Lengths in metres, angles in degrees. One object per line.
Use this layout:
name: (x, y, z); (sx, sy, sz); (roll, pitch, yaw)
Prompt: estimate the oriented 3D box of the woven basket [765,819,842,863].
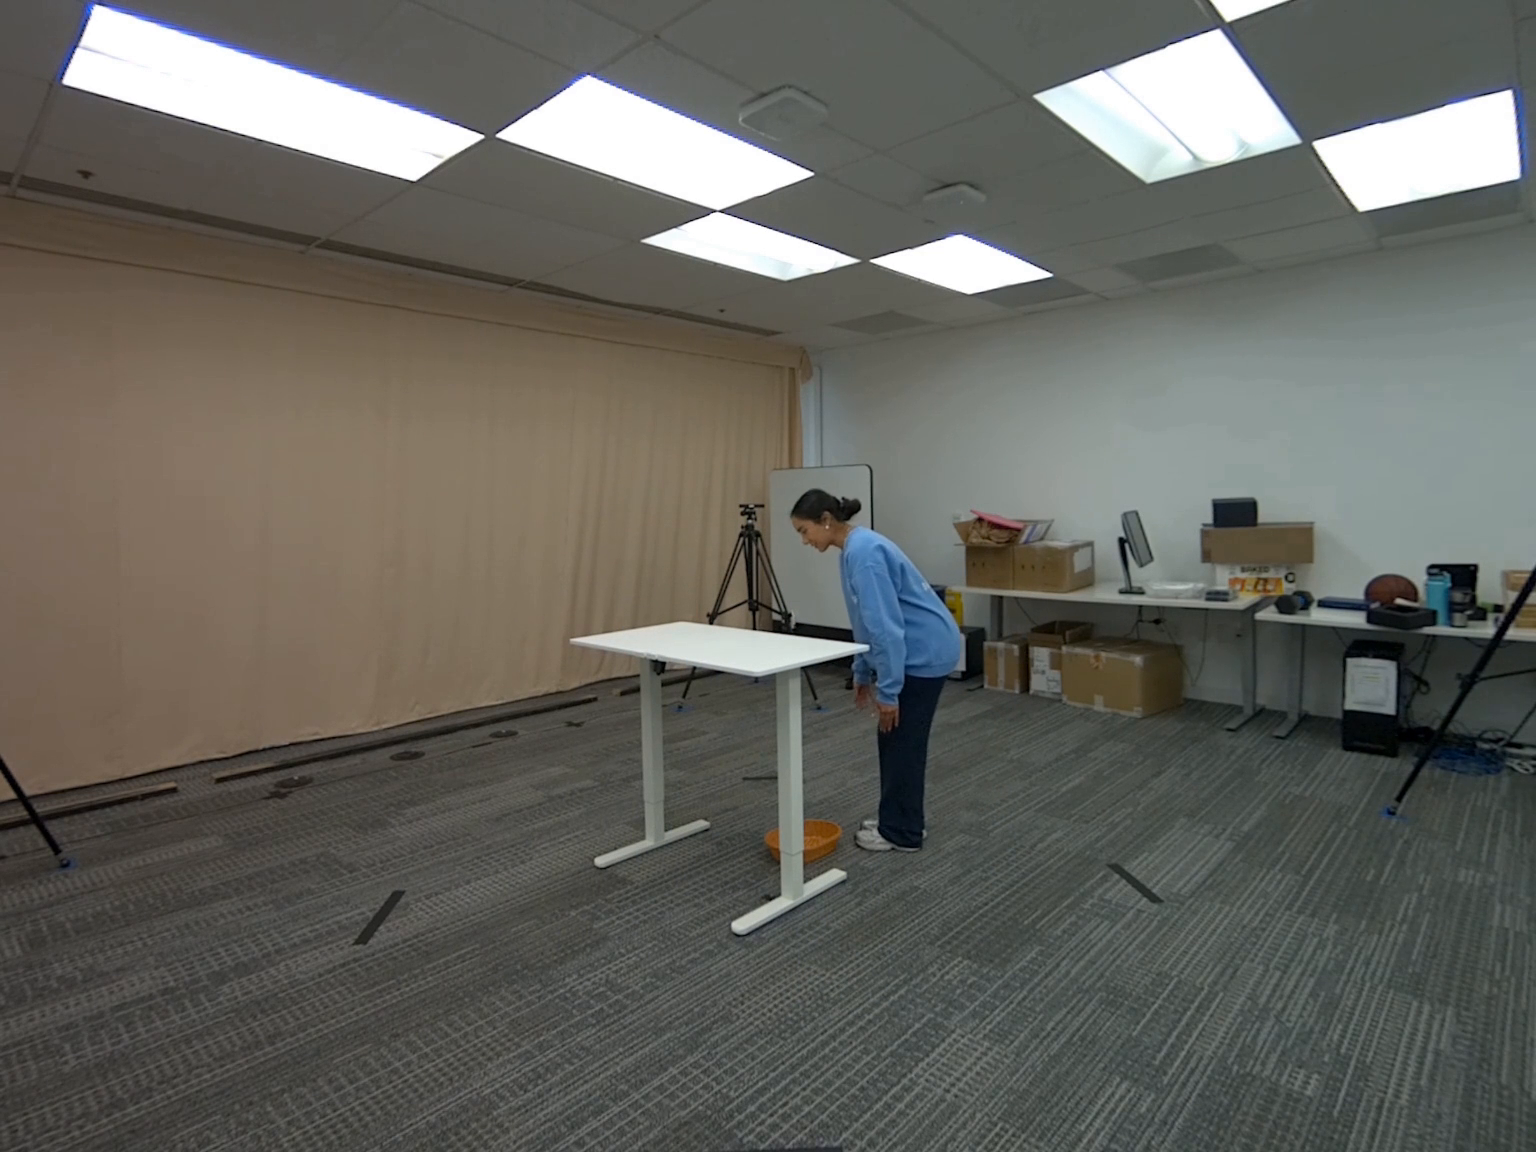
woven basket: (0.143, 1.059, 3.368); (0.340, 0.073, 0.261); (-6, 6, -44)
